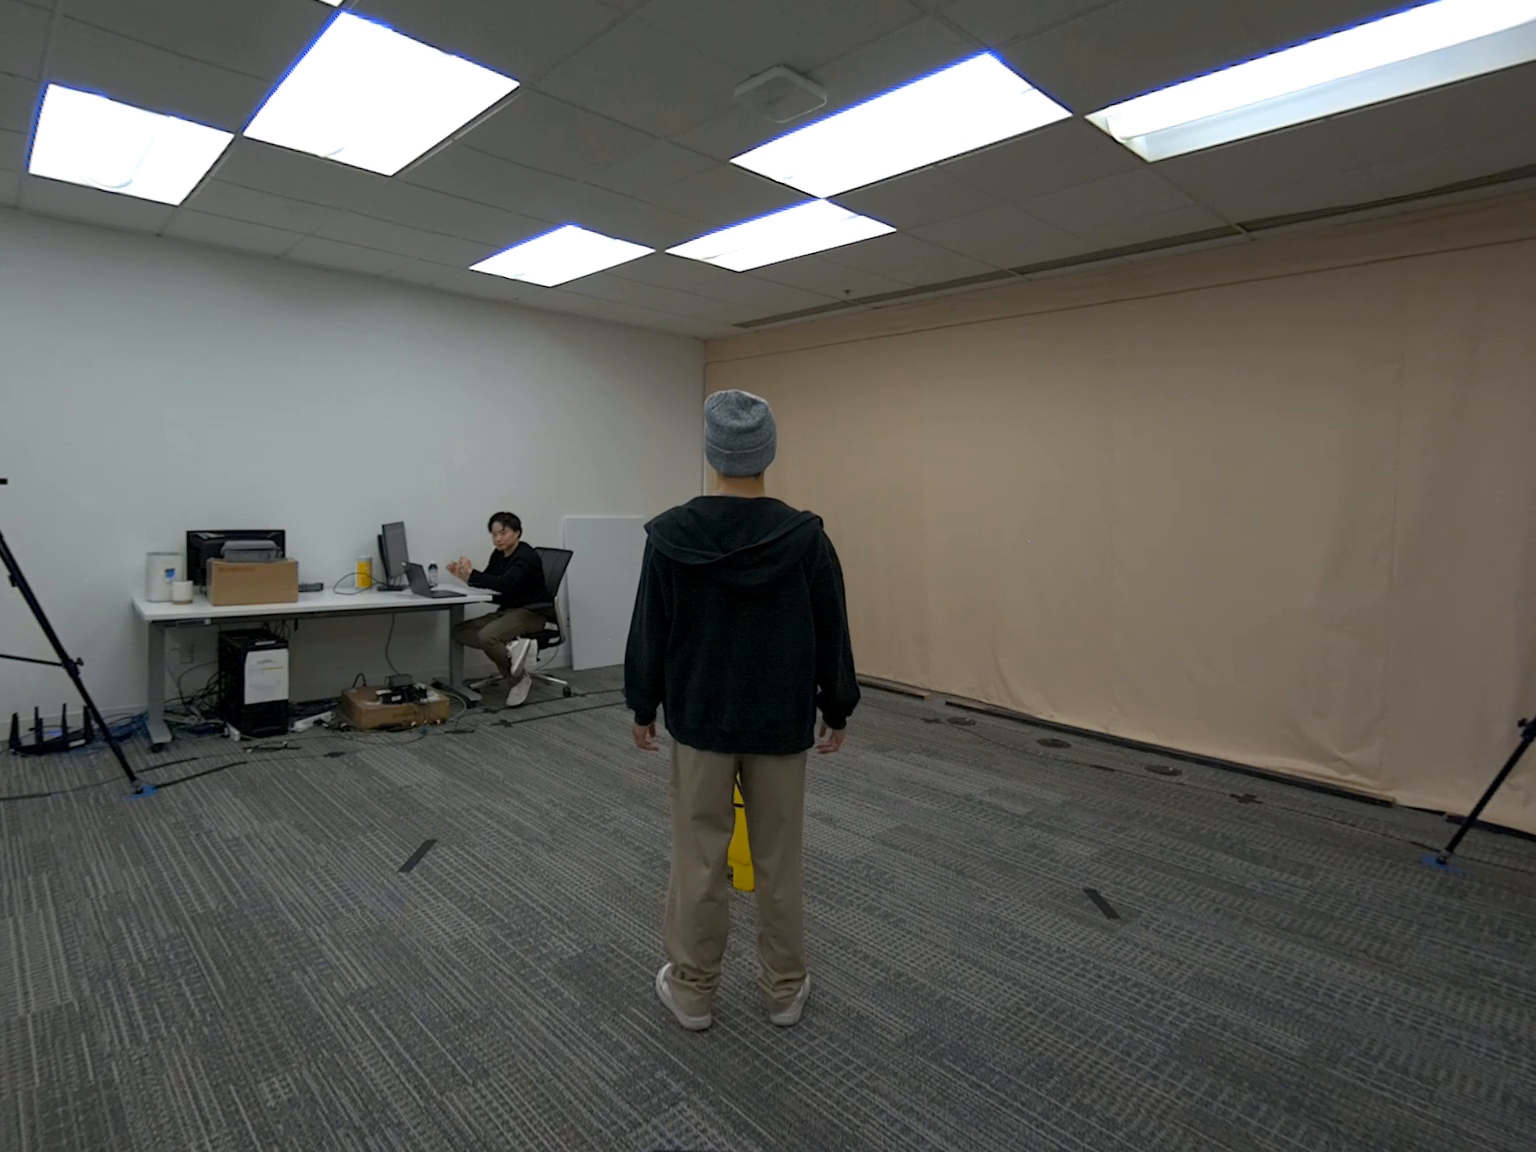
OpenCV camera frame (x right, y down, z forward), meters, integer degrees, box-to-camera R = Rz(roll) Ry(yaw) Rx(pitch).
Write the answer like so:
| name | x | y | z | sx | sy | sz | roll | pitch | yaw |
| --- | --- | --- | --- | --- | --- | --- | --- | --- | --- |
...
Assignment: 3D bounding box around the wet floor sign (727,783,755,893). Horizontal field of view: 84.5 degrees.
| name | x | y | z | sx | sy | sz | roll | pitch | yaw |
| --- | --- | --- | --- | --- | --- | --- | --- | --- | --- |
| wet floor sign | -0.141 | 0.784 | 3.134 | 0.287 | 0.645 | 0.285 | 4 | 3 | 20 |
